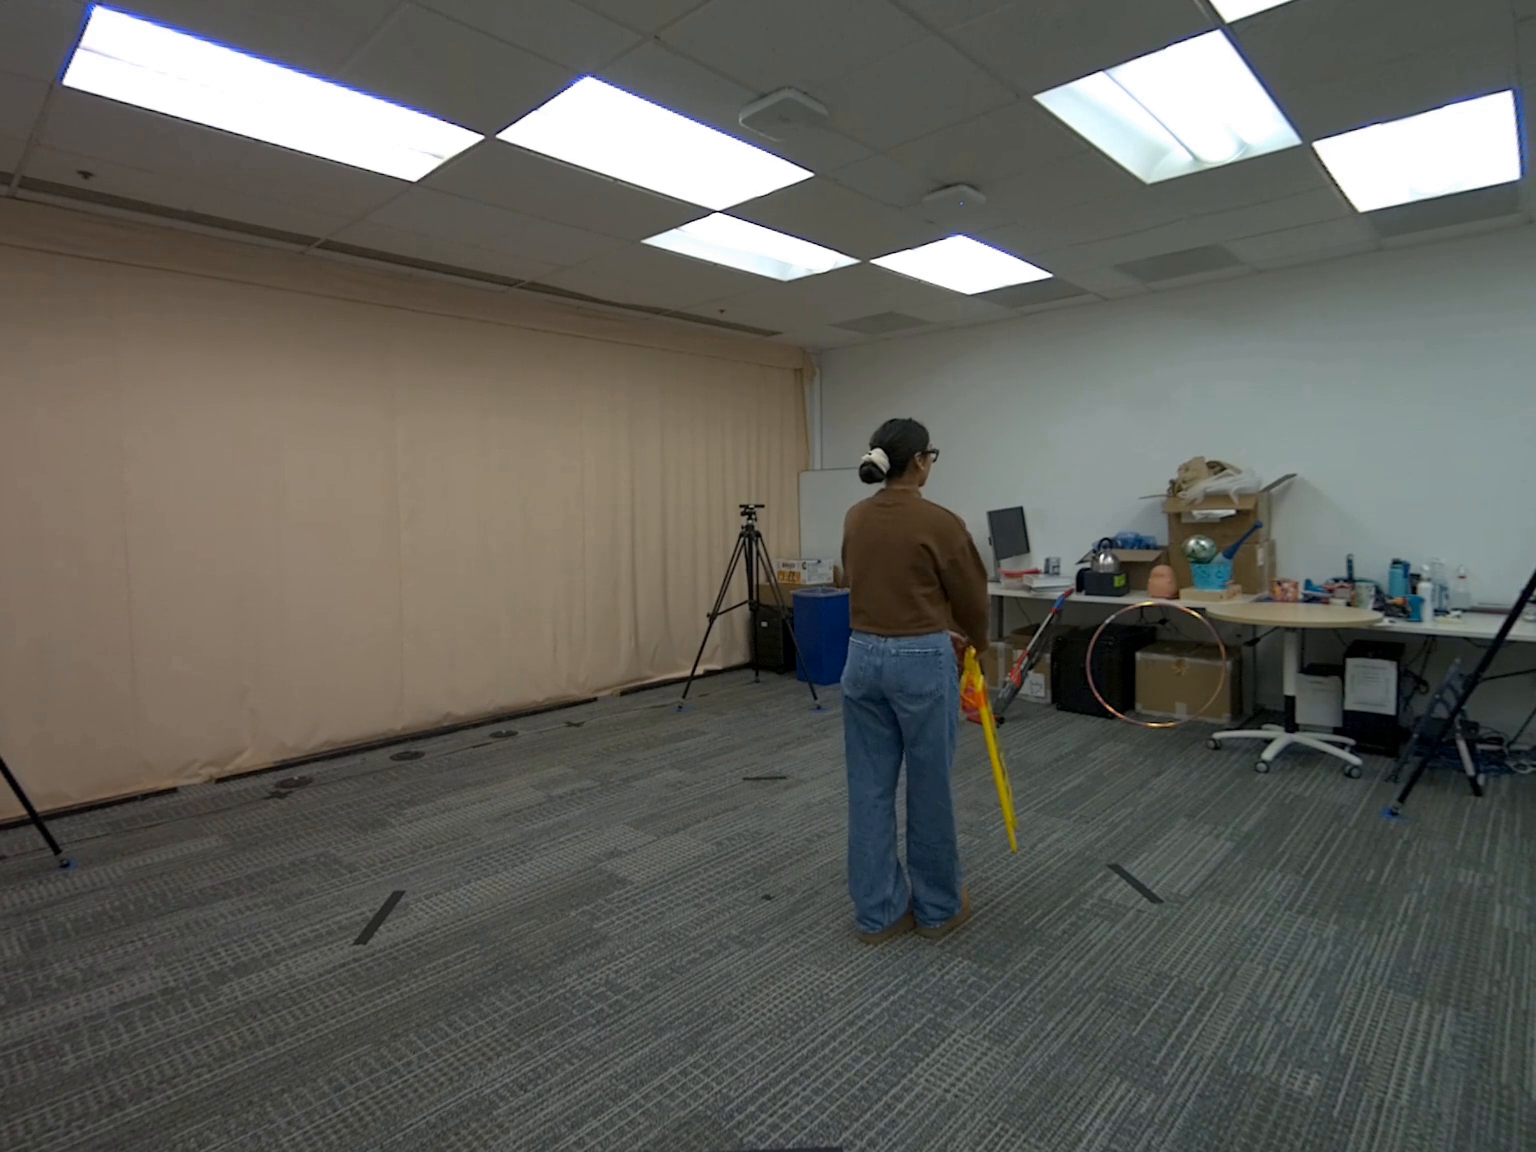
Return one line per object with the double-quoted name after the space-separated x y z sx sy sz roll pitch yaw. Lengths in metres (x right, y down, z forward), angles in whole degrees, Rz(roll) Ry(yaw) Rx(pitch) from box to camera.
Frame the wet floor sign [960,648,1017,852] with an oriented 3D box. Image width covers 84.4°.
0.721 0.583 2.934 0.295 0.645 0.278 -2 2 16 "wet floor sign"
